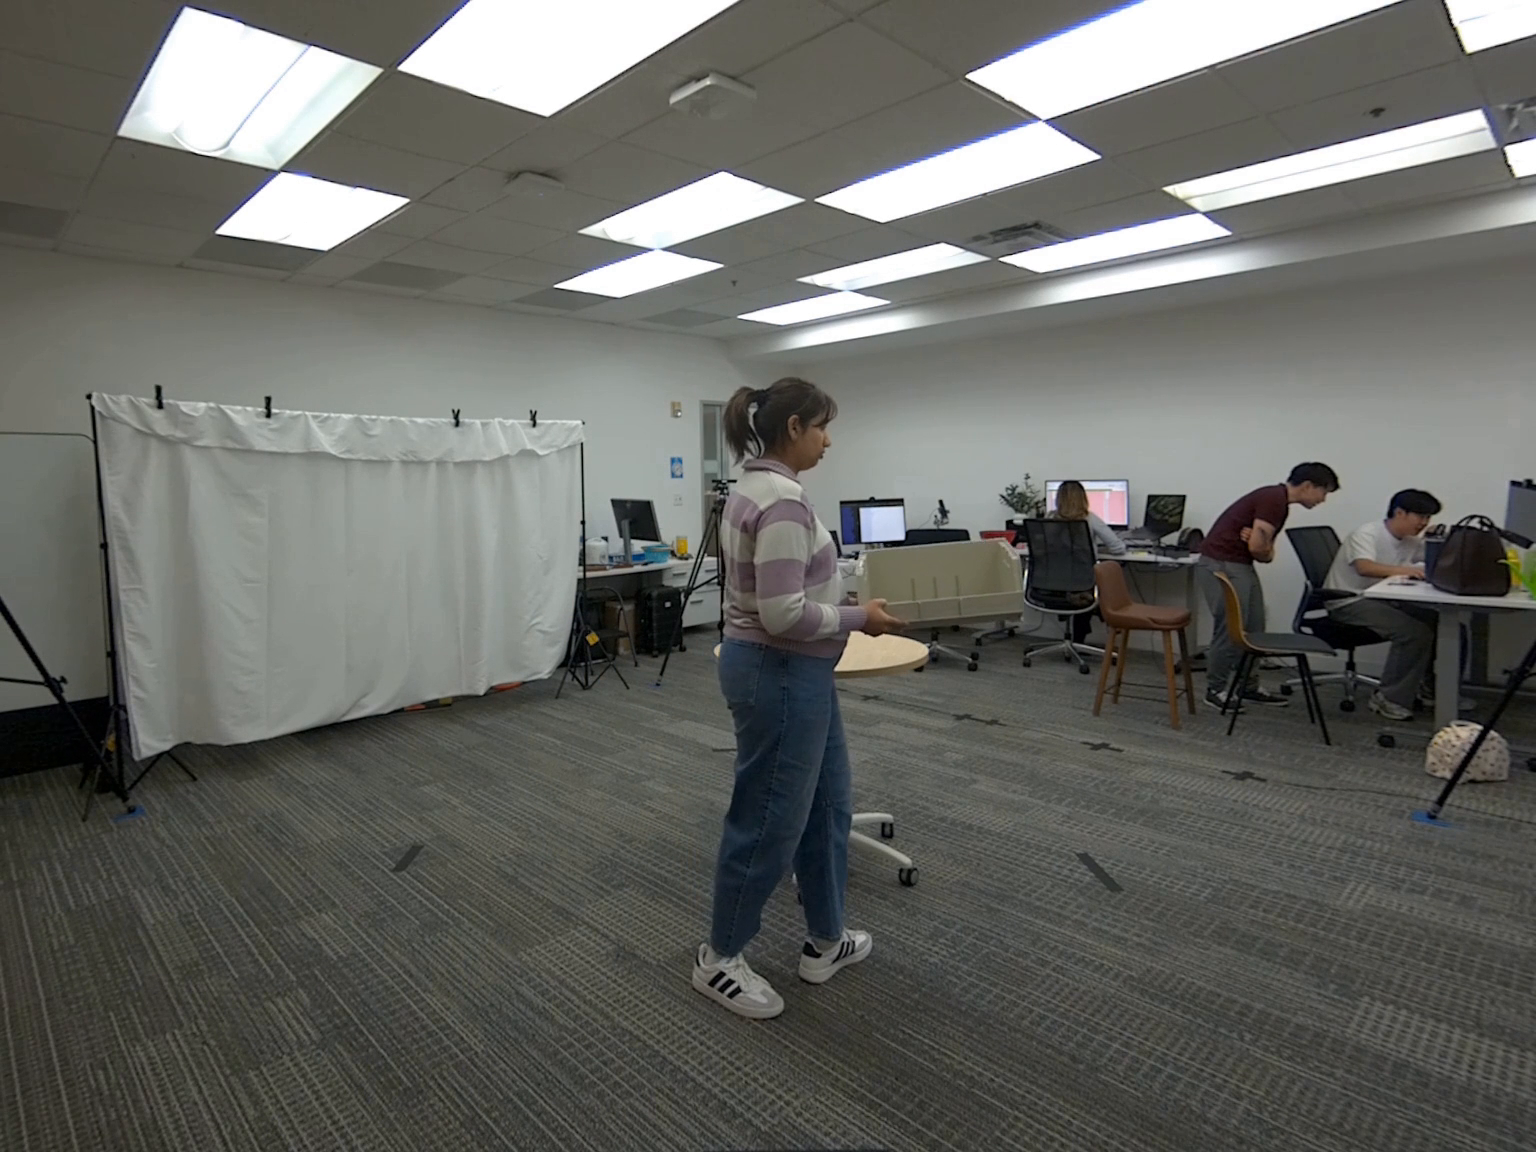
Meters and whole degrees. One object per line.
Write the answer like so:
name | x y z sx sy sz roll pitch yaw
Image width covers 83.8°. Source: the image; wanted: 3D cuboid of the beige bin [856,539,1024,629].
beige bin | 0.469 0.027 2.380 0.427 0.188 0.376 -6 7 11
